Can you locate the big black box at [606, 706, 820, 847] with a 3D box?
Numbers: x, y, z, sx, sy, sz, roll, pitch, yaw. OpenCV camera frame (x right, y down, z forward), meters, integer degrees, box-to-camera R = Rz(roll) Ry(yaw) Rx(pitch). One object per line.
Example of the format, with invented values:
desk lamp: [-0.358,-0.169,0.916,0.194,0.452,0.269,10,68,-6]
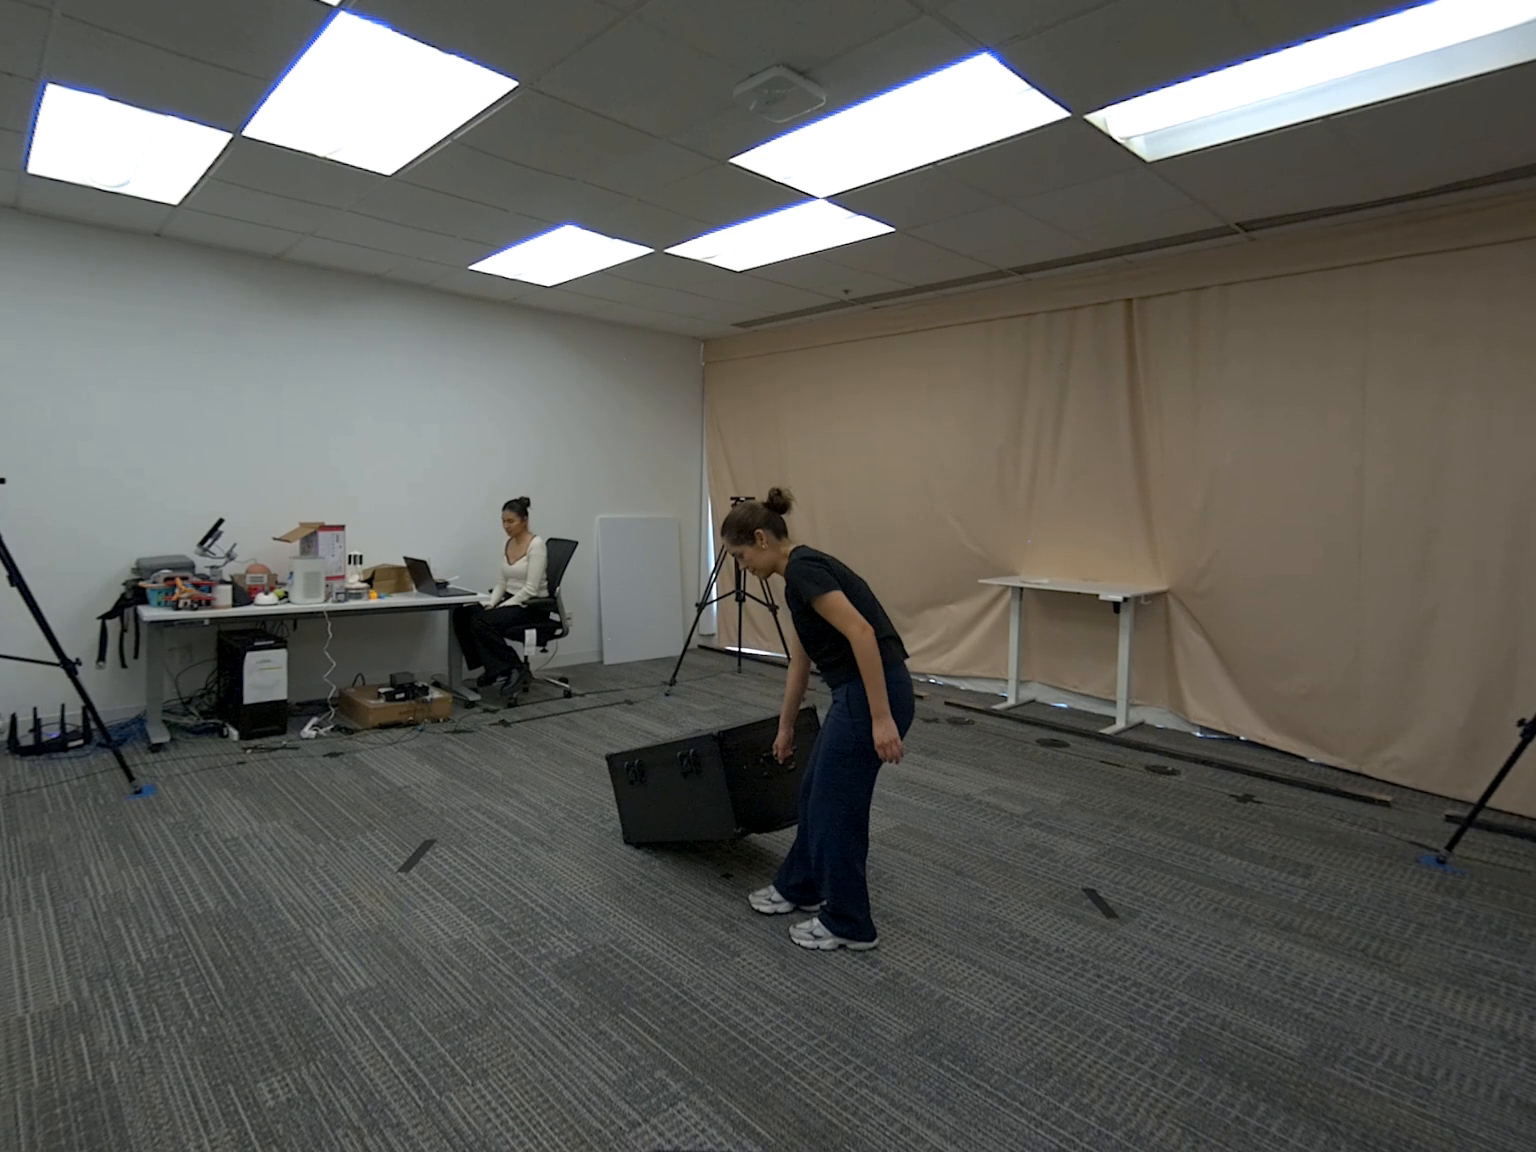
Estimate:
big black box: [-0.189,0.783,3.224,0.510,0.400,0.871,-7,-11,-40]
